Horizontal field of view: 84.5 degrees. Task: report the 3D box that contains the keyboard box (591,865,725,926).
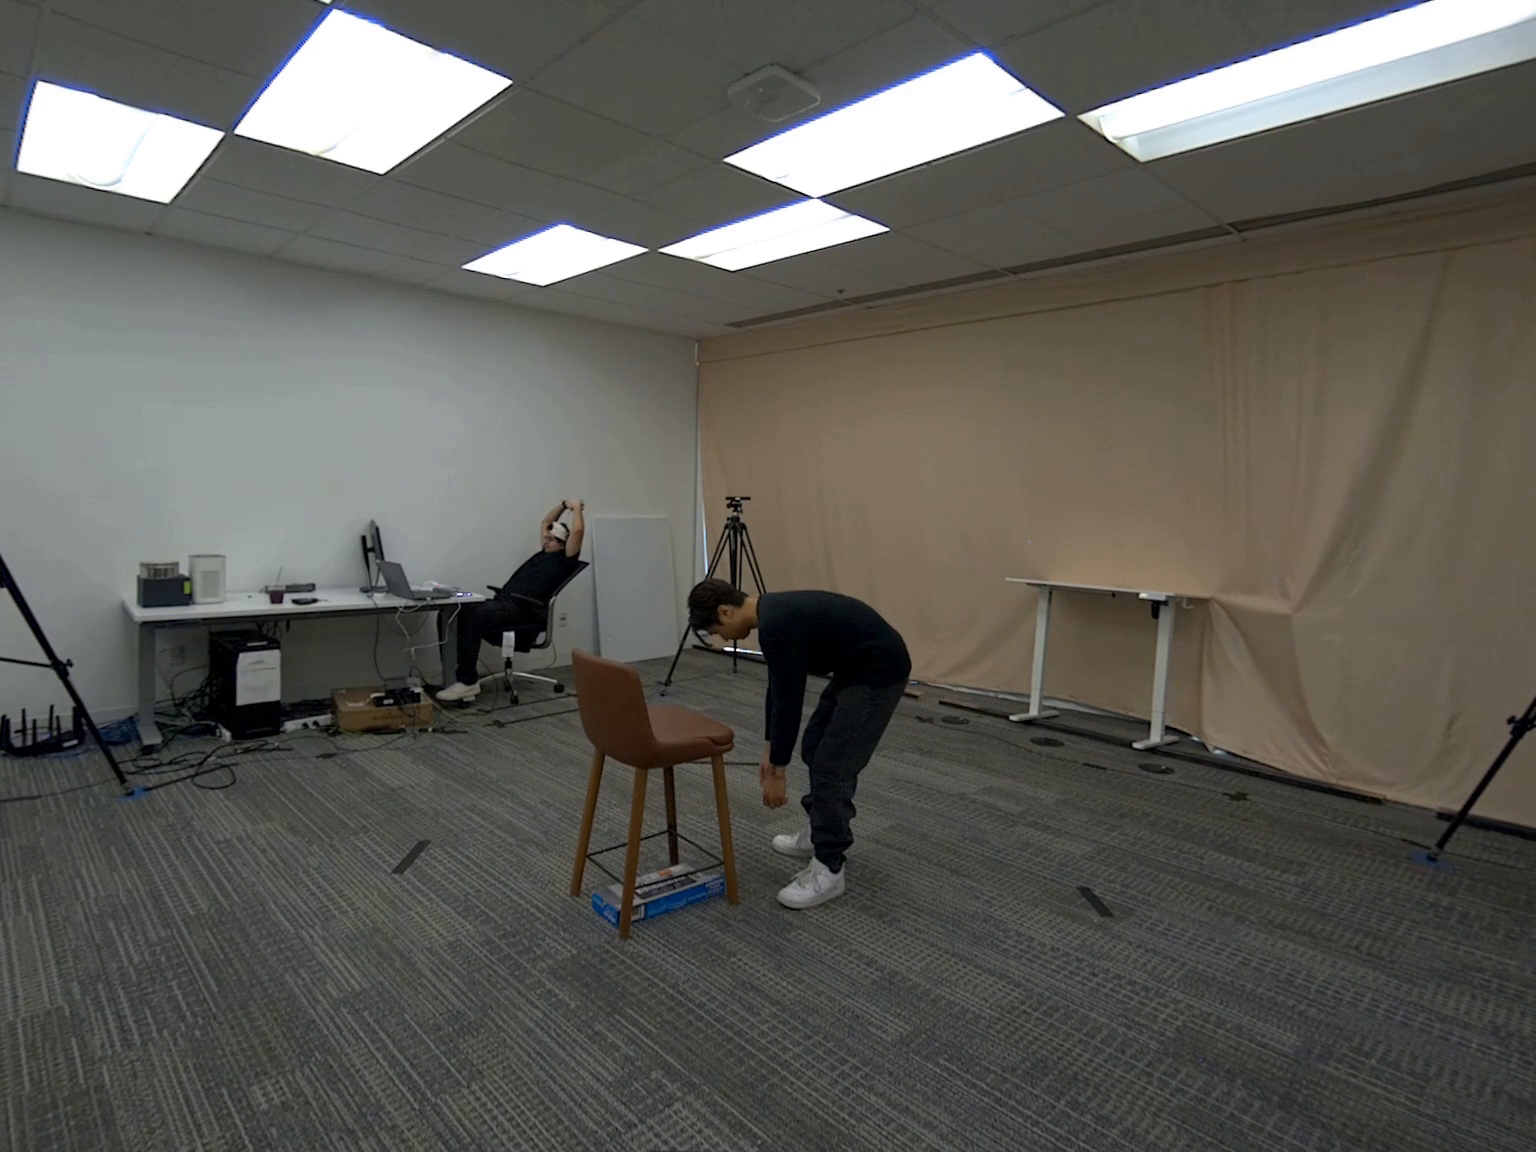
[{"bbox_3d":[-0.381,1.095,2.906,0.427,0.059,0.180,-3,4,-39],"label":"keyboard box"}]
